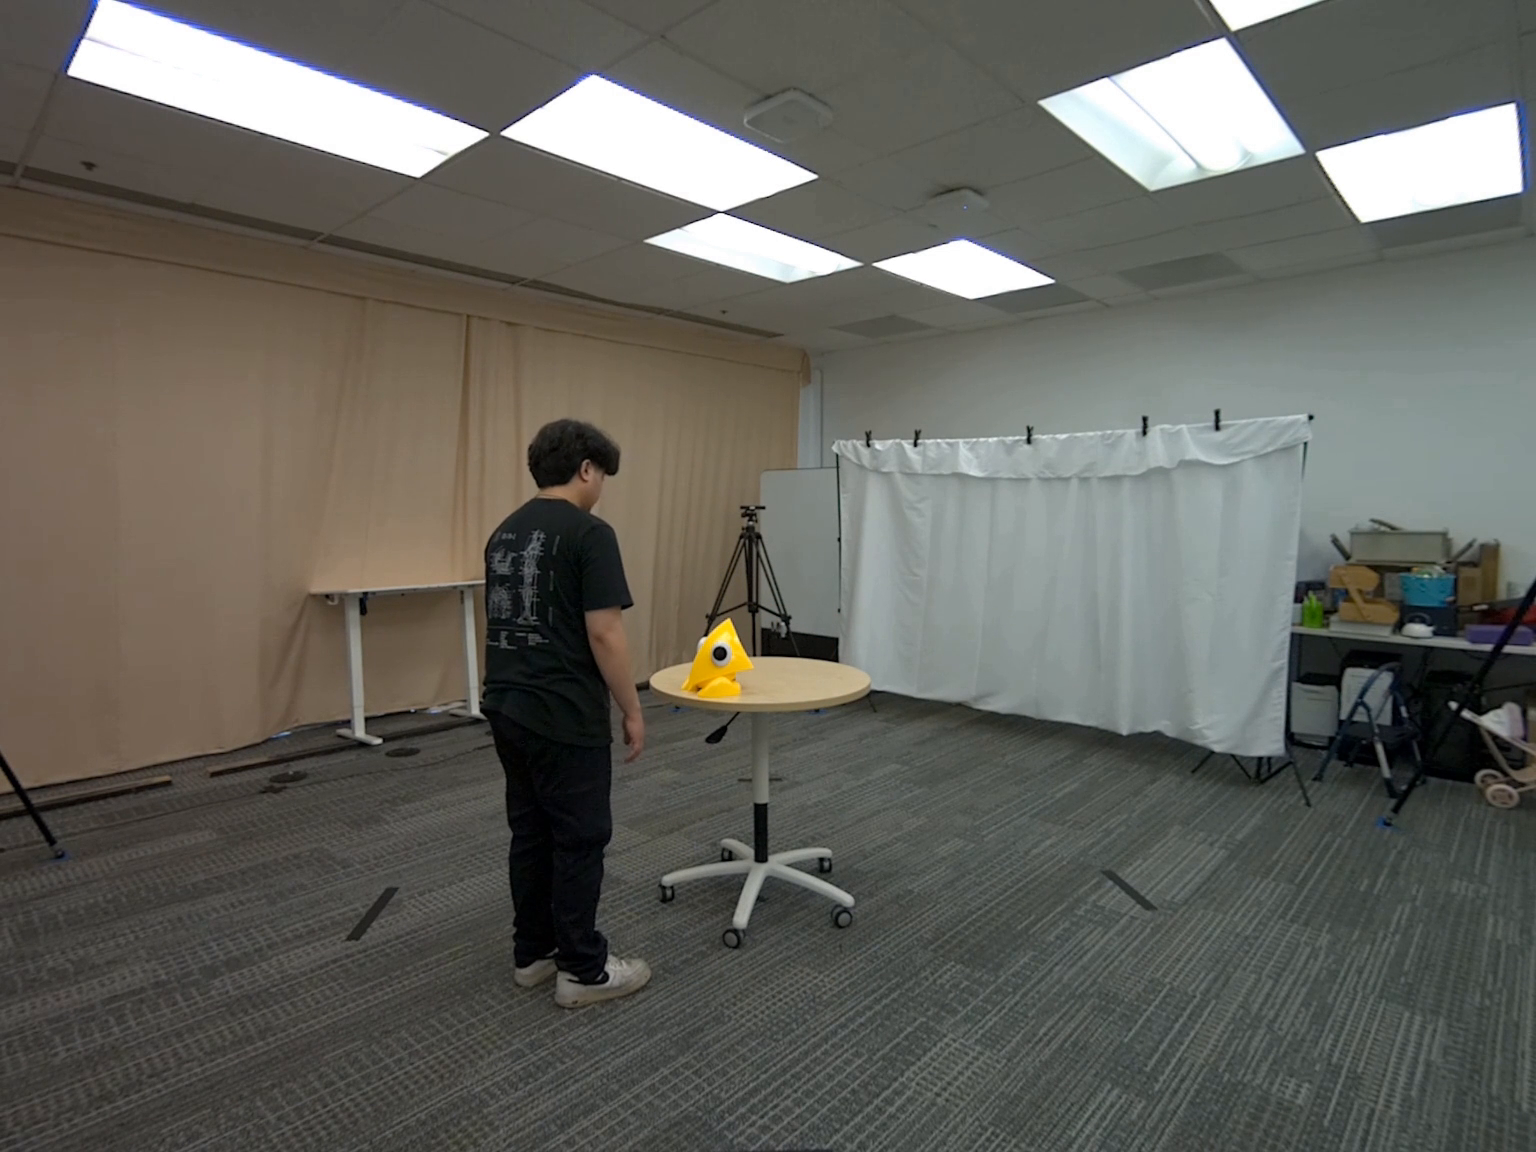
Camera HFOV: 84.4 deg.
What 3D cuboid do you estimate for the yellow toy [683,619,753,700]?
[{"bbox_3d":[-0.170,0.261,2.741,0.188,0.230,0.211,-3,5,-31],"label":"yellow toy"}]
